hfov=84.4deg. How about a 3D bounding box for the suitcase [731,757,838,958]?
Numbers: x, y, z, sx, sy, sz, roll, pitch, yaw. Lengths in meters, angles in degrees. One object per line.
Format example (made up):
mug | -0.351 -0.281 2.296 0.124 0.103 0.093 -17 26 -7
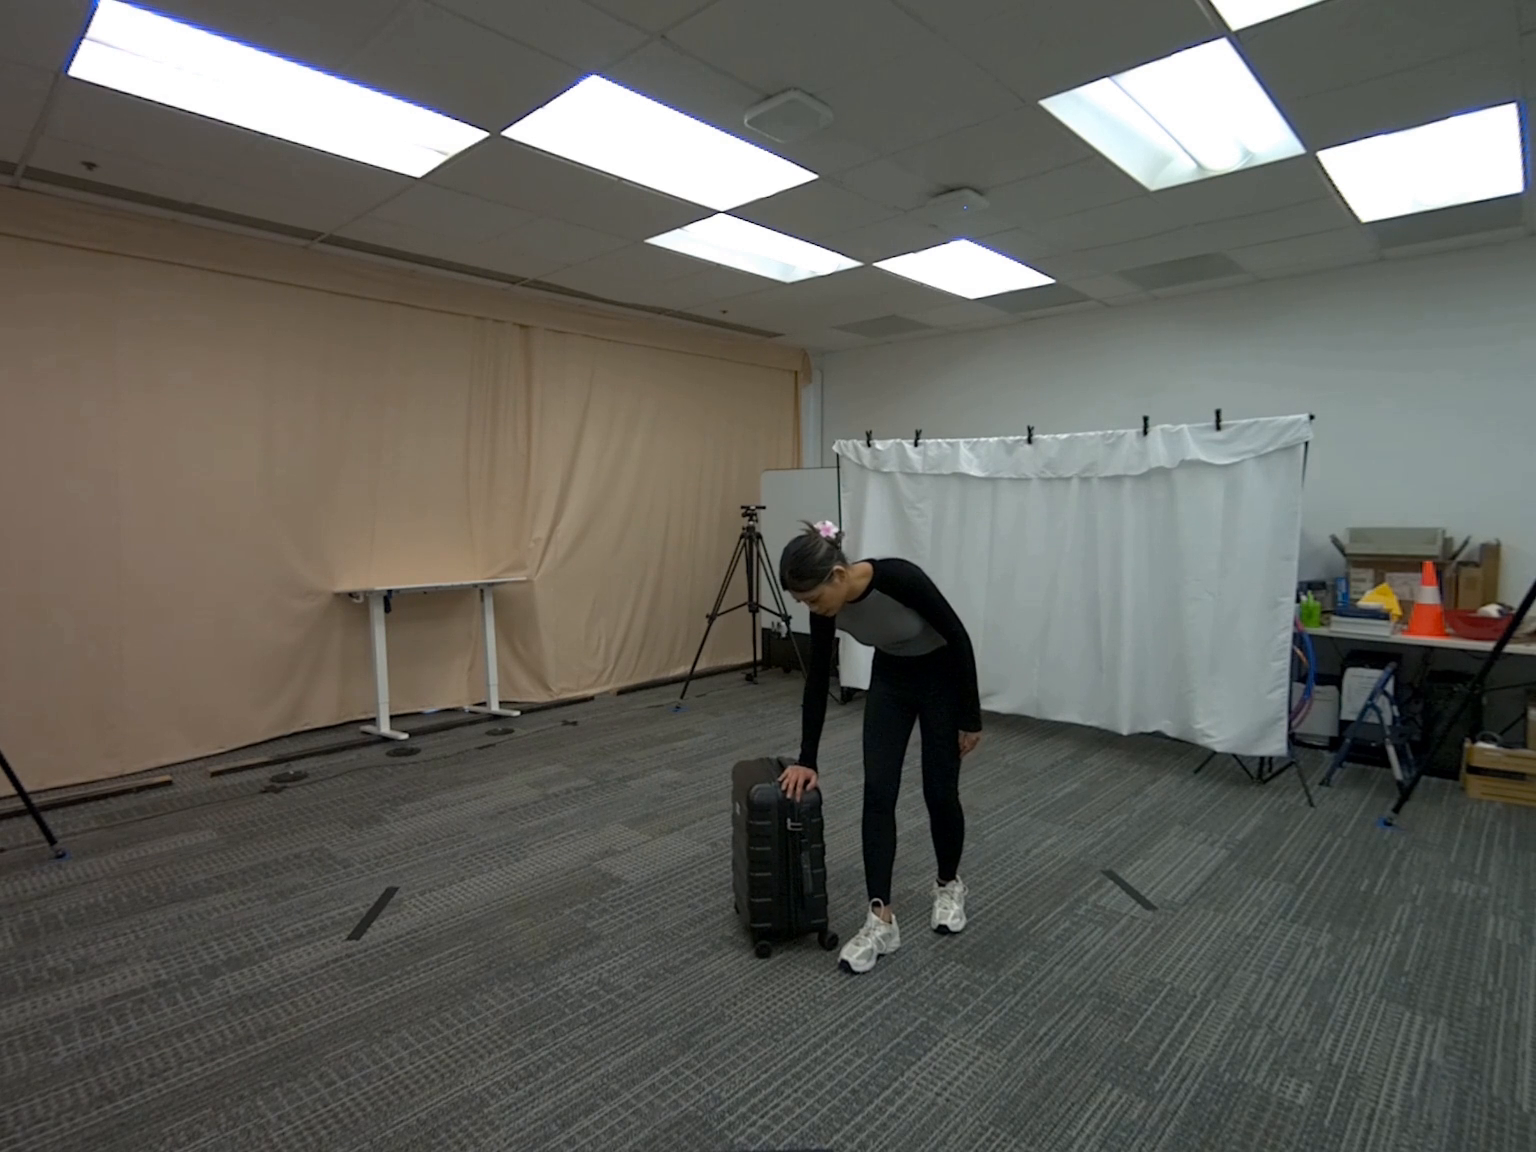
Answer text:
suitcase | 0.038 0.888 2.749 0.245 0.548 0.382 -2 4 -15
